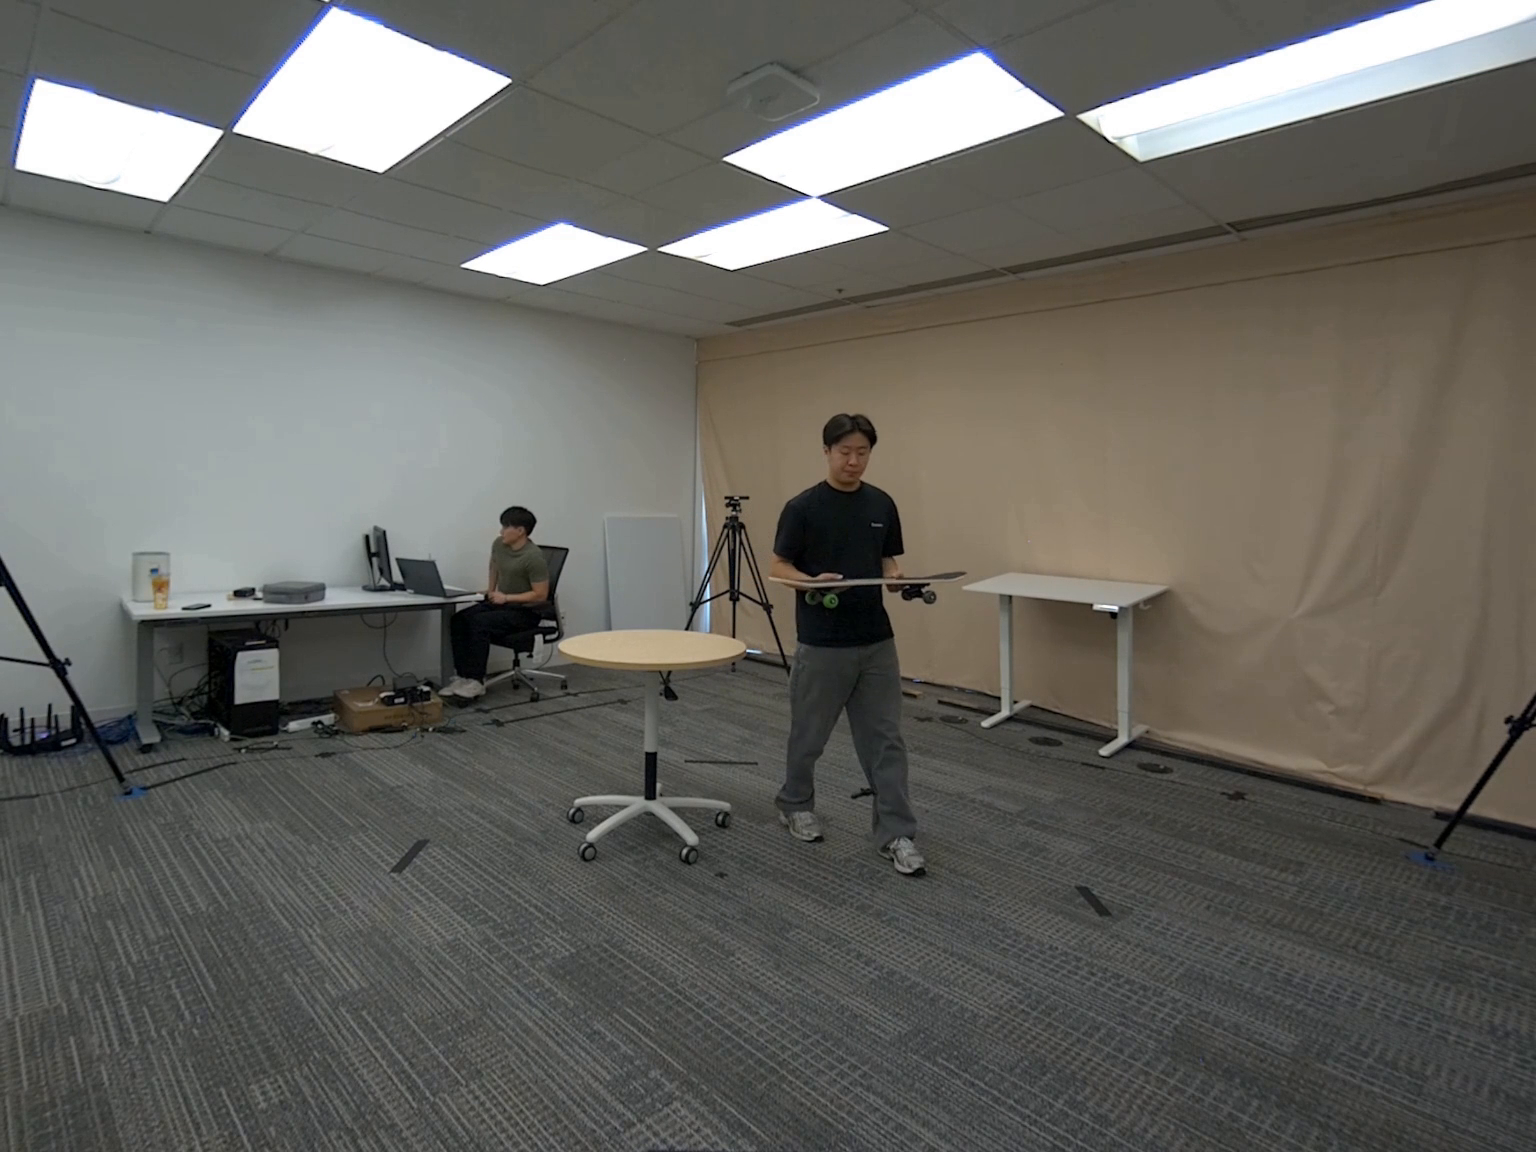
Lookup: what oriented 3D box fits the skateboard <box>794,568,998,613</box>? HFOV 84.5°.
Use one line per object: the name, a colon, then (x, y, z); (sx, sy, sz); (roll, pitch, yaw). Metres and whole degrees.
skateboard: (0.479, 0.055, 3.091); (0.770, 0.110, 0.198); (-4, 6, -29)
